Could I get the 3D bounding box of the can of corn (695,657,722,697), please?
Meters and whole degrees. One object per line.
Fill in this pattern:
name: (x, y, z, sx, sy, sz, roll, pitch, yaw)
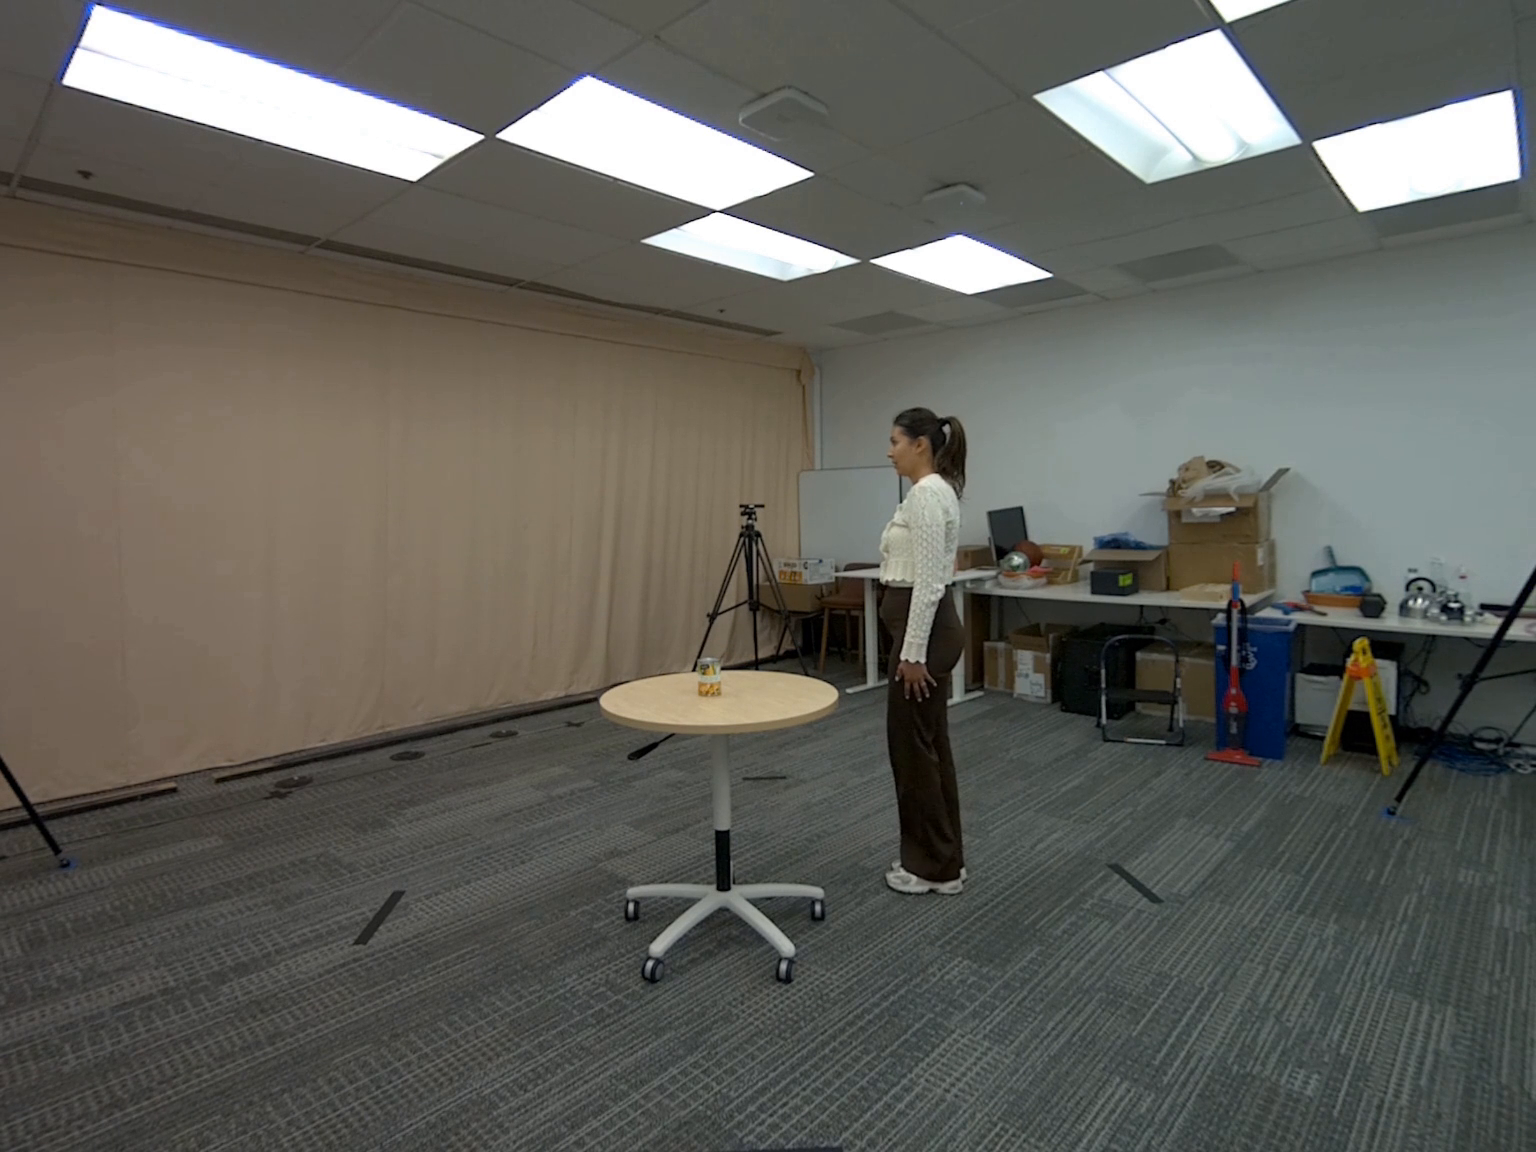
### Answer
can of corn: (-0.181, 0.326, 2.715, 0.074, 0.111, 0.074, -2, 4, -2)
